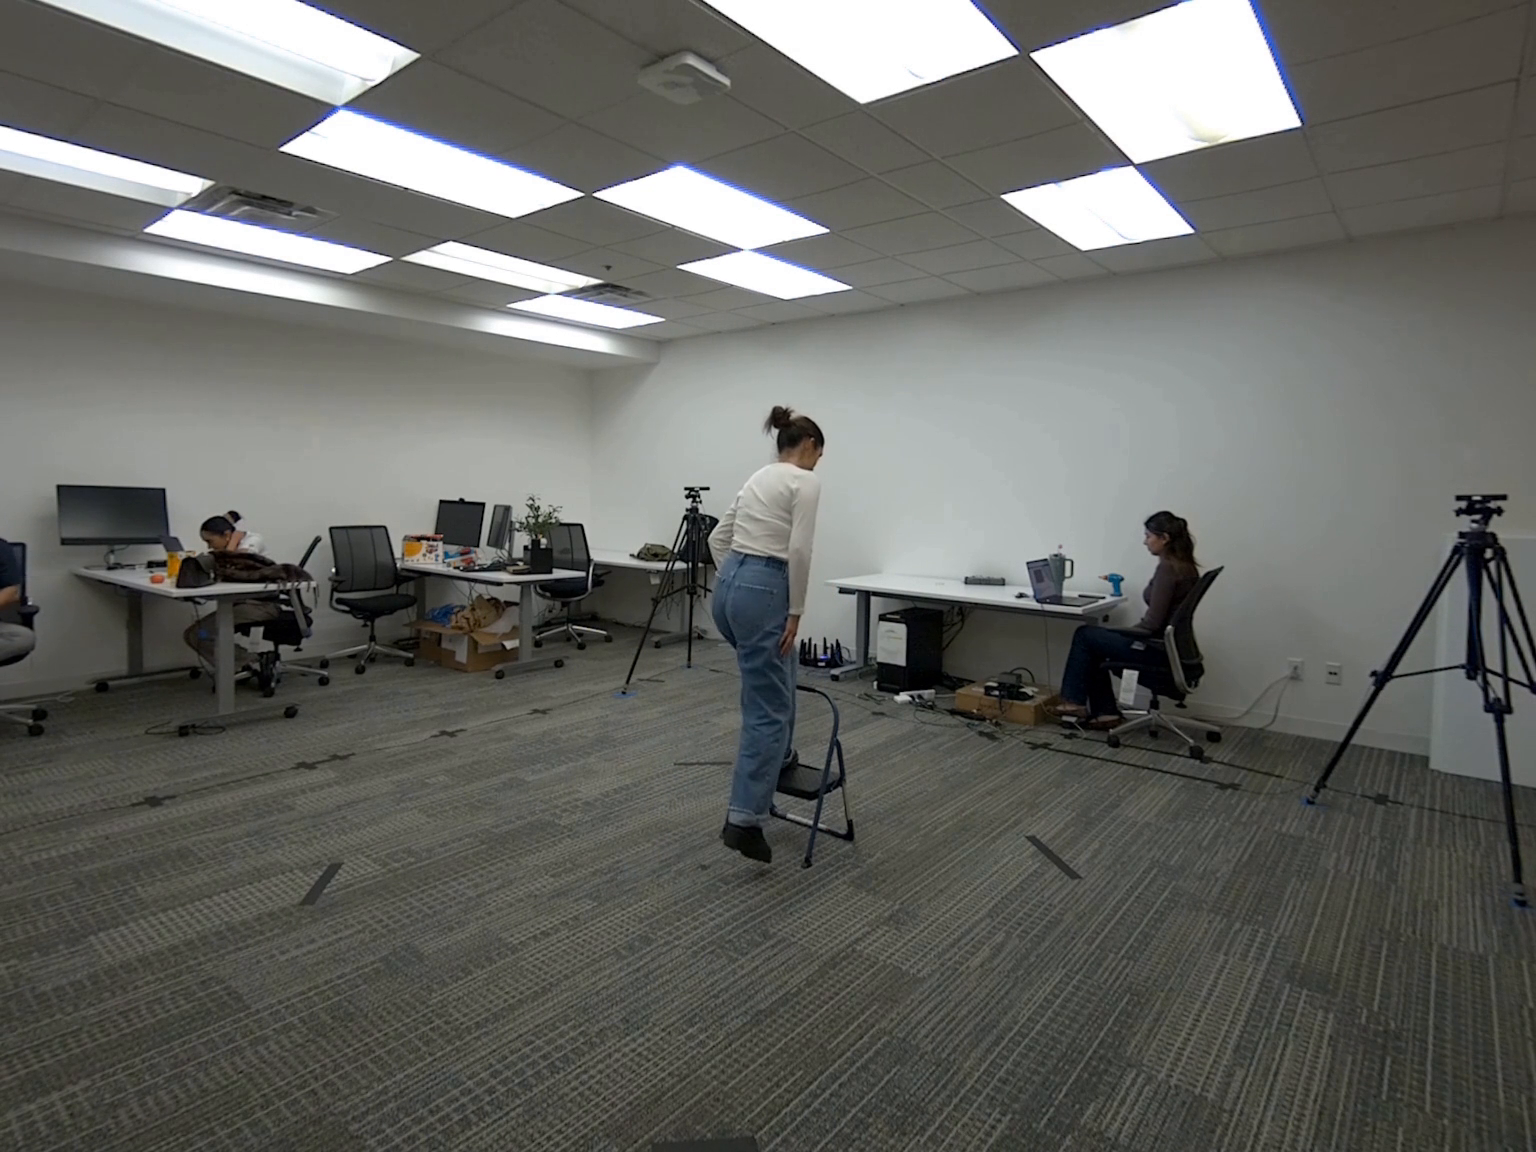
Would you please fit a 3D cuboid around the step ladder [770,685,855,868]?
[{"bbox_3d":[0.081,0.741,3.374,0.445,0.604,0.339,4,5,38],"label":"step ladder"}]
